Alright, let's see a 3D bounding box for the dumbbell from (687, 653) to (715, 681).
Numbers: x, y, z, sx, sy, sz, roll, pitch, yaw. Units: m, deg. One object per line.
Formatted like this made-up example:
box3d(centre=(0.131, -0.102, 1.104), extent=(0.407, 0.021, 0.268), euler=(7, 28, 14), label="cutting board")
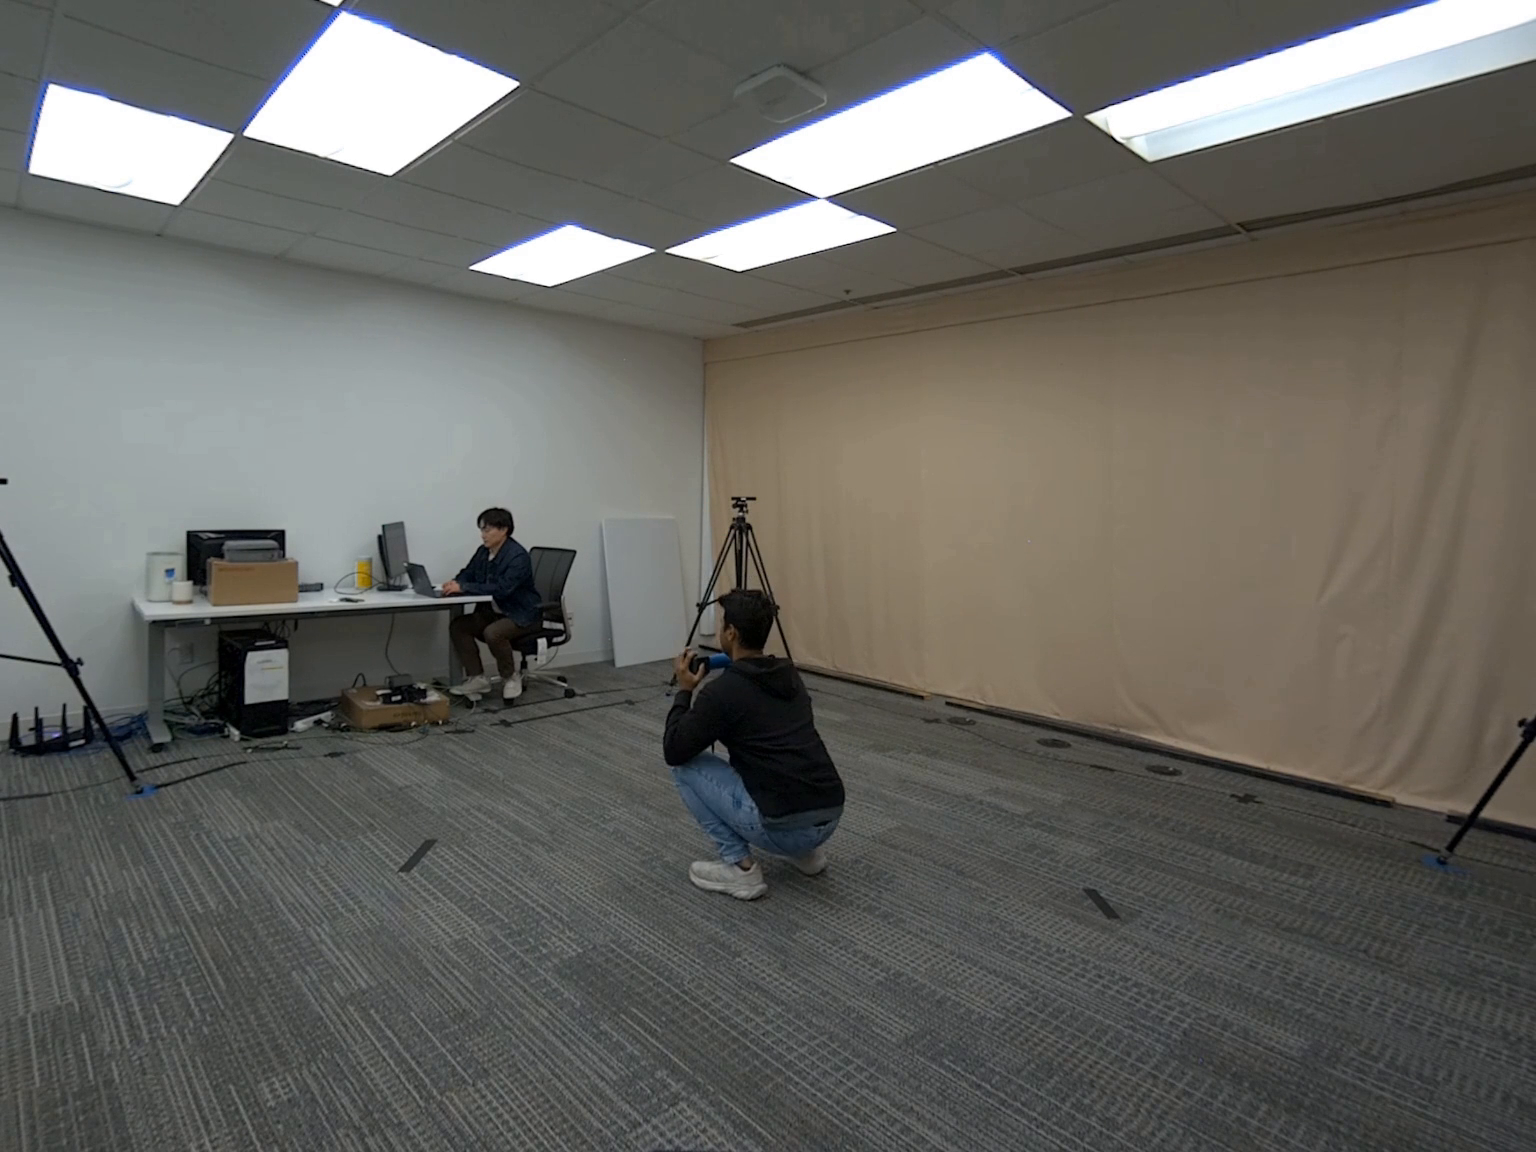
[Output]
box3d(centre=(-0.202, 0.326, 3.291), extent=(0.287, 0.123, 0.111), euler=(-4, 2, -40), label="dumbbell")
